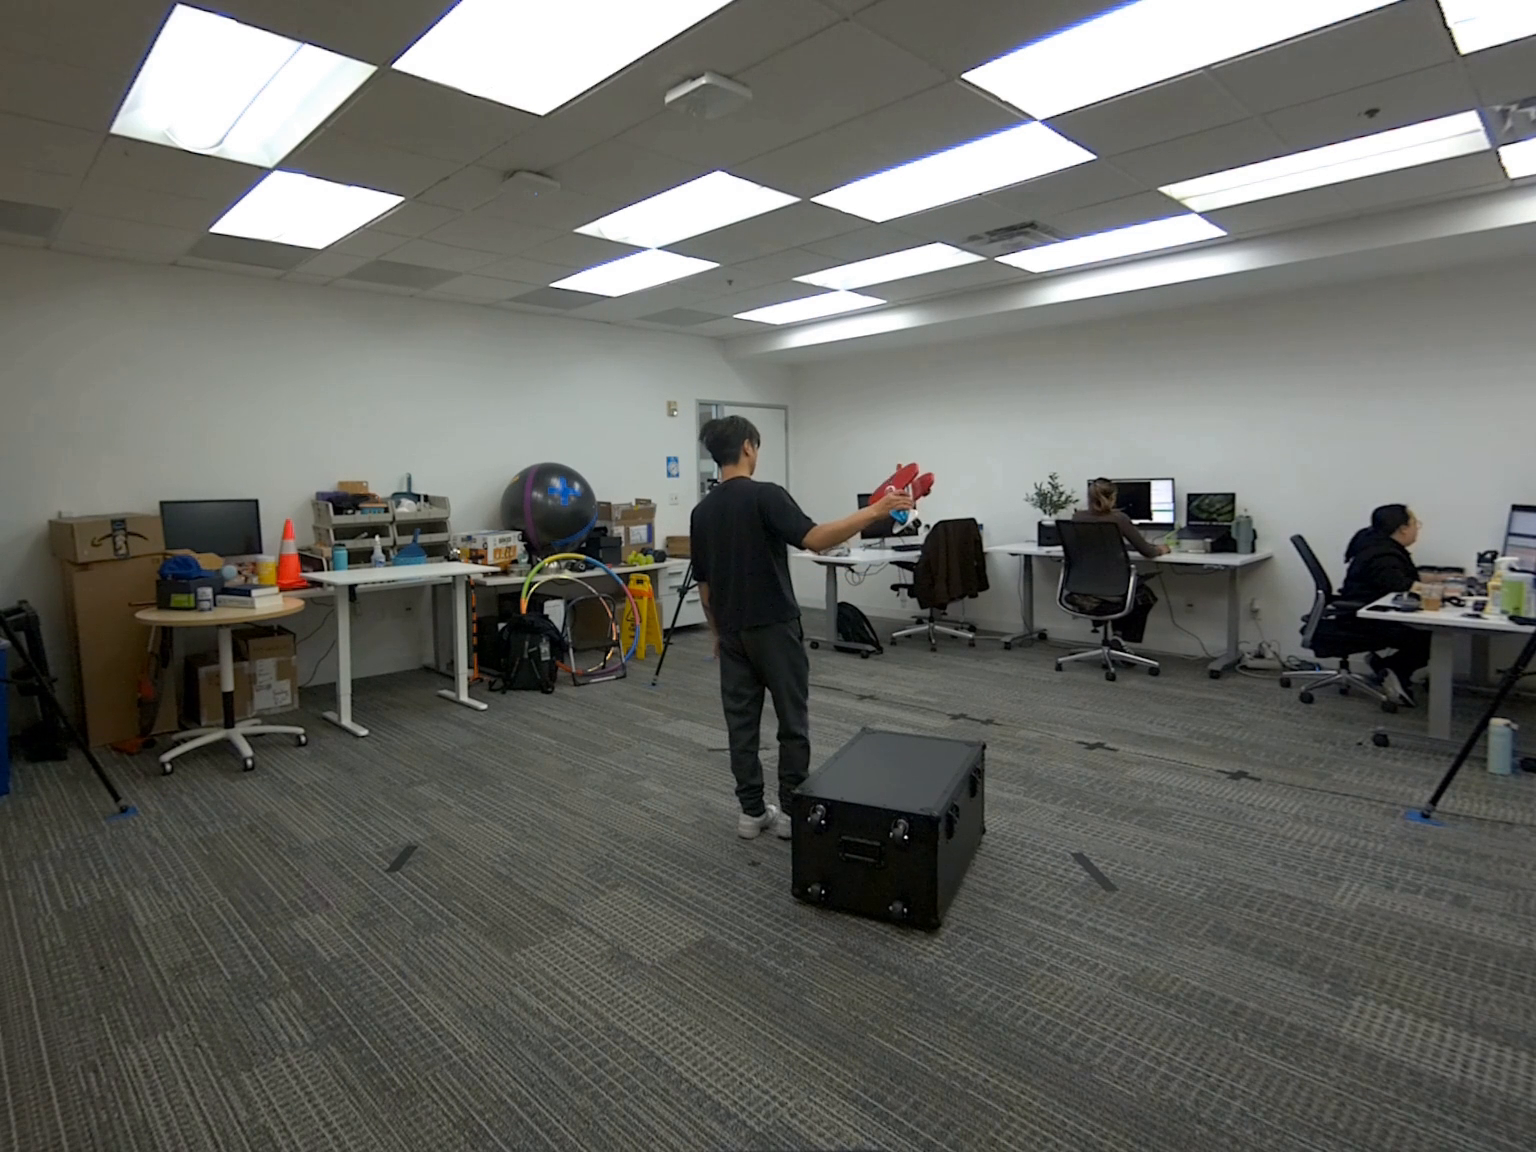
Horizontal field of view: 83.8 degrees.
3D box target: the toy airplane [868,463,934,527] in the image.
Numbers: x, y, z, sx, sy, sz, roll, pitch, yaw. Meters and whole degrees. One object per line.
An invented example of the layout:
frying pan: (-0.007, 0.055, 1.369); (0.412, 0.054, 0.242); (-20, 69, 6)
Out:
toy airplane: (0.515, -0.278, 3.113); (0.154, 0.251, 0.264); (36, 14, -13)
